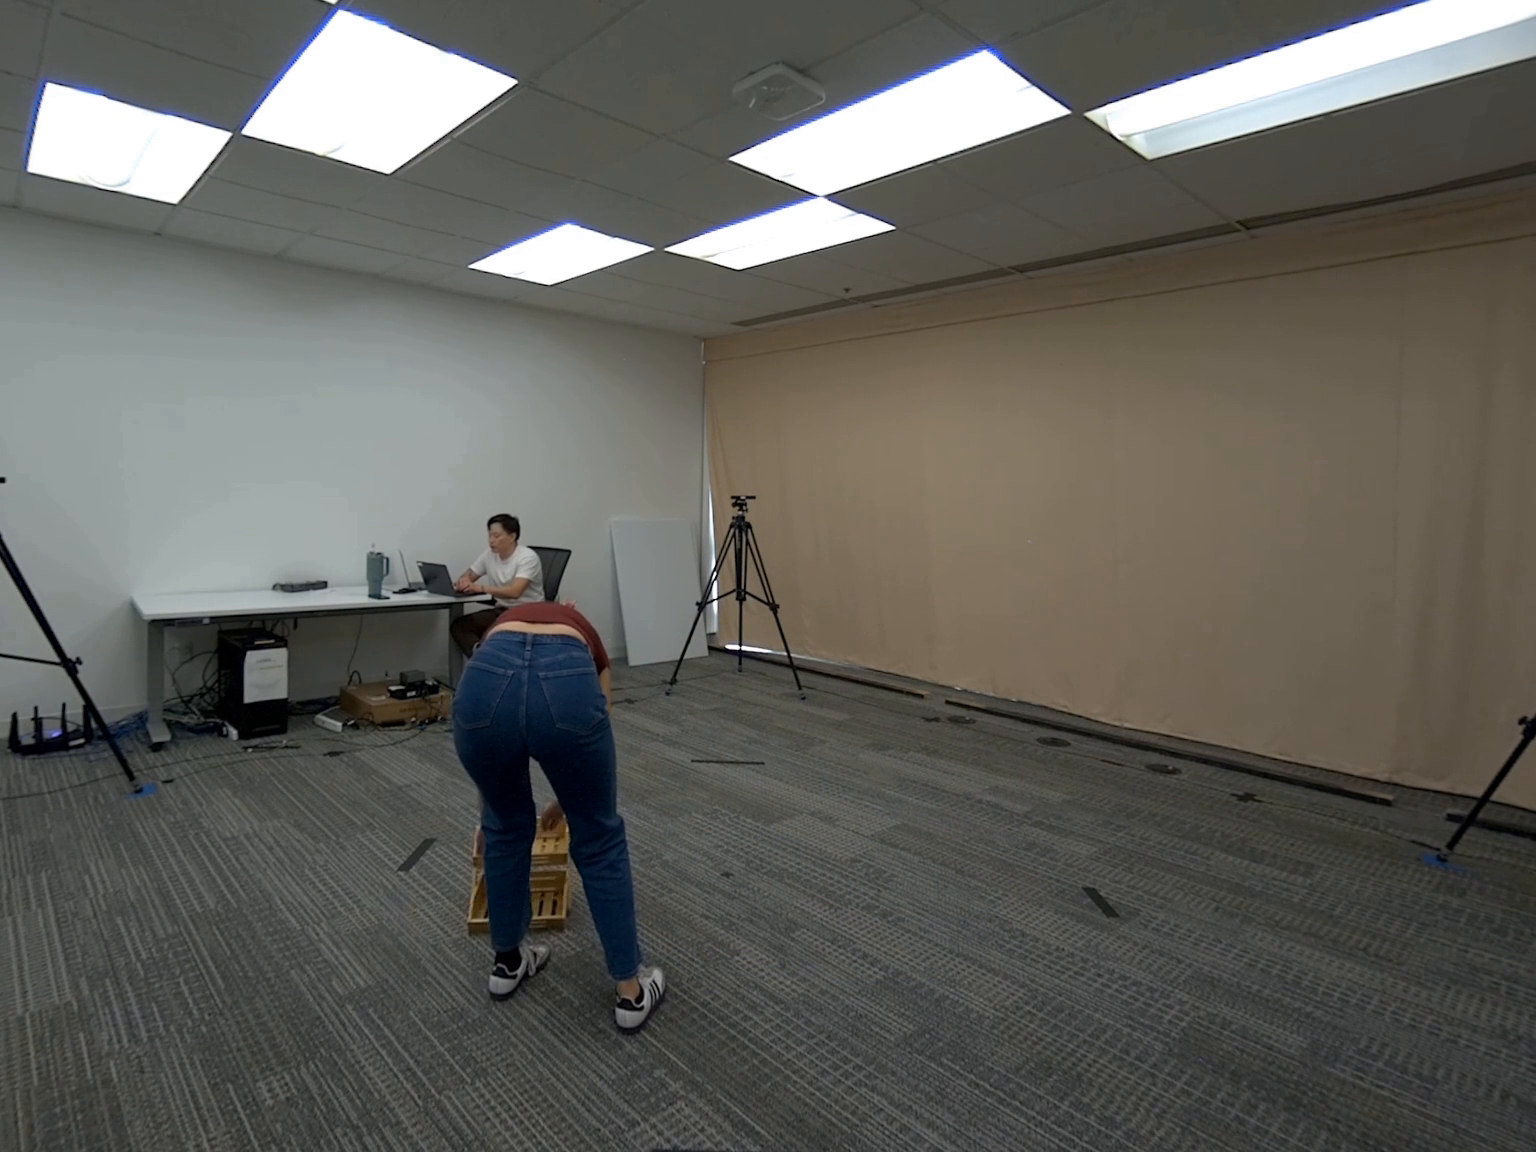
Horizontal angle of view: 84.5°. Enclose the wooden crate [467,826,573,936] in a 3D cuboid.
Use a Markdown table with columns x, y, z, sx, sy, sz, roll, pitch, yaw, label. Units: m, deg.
| x | y | z | sx | sy | sz | roll | pitch | yaw | label |
| --- | --- | --- | --- | --- | --- | --- | --- | --- | --- |
| -0.816 | 0.987 | 2.789 | 0.322 | 0.272 | 0.305 | 0 | 4 | -9 | wooden crate |
